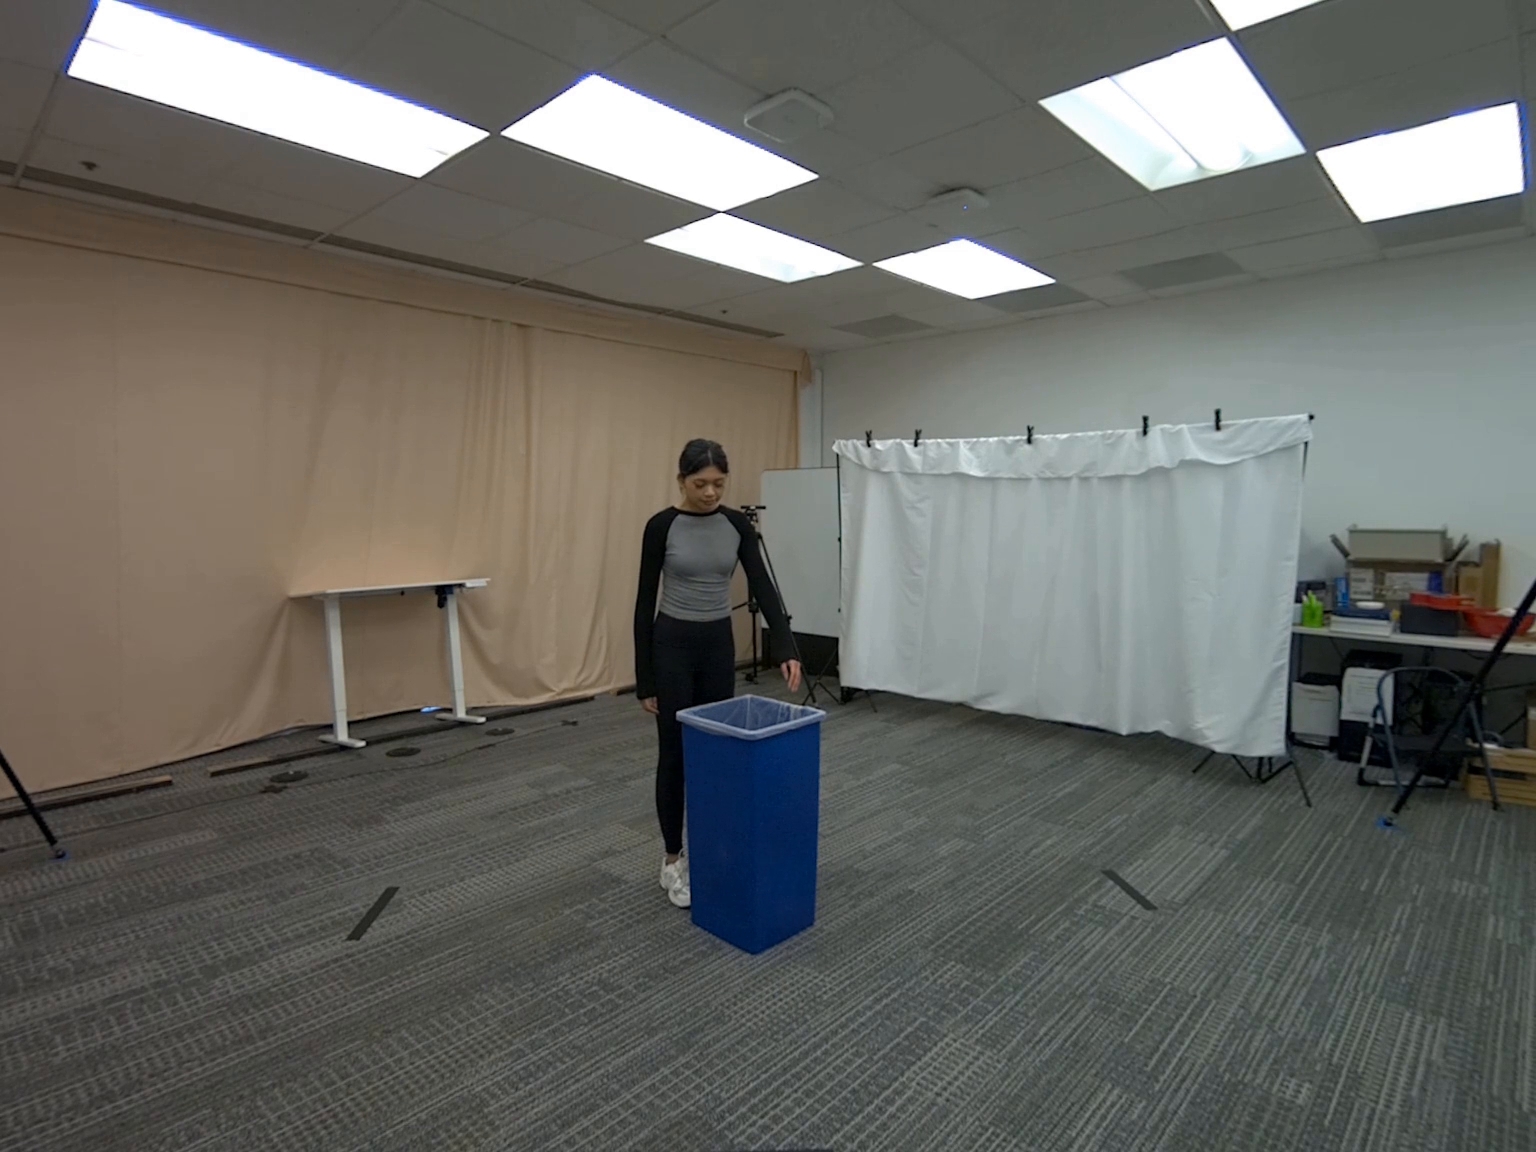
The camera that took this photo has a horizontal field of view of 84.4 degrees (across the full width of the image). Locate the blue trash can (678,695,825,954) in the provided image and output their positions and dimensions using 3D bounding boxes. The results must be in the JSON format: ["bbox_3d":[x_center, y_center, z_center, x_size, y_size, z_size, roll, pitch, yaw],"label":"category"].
[{"bbox_3d":[-0.050,0.803,2.784,0.391,0.712,0.362,3,4,45],"label":"blue trash can"}]
